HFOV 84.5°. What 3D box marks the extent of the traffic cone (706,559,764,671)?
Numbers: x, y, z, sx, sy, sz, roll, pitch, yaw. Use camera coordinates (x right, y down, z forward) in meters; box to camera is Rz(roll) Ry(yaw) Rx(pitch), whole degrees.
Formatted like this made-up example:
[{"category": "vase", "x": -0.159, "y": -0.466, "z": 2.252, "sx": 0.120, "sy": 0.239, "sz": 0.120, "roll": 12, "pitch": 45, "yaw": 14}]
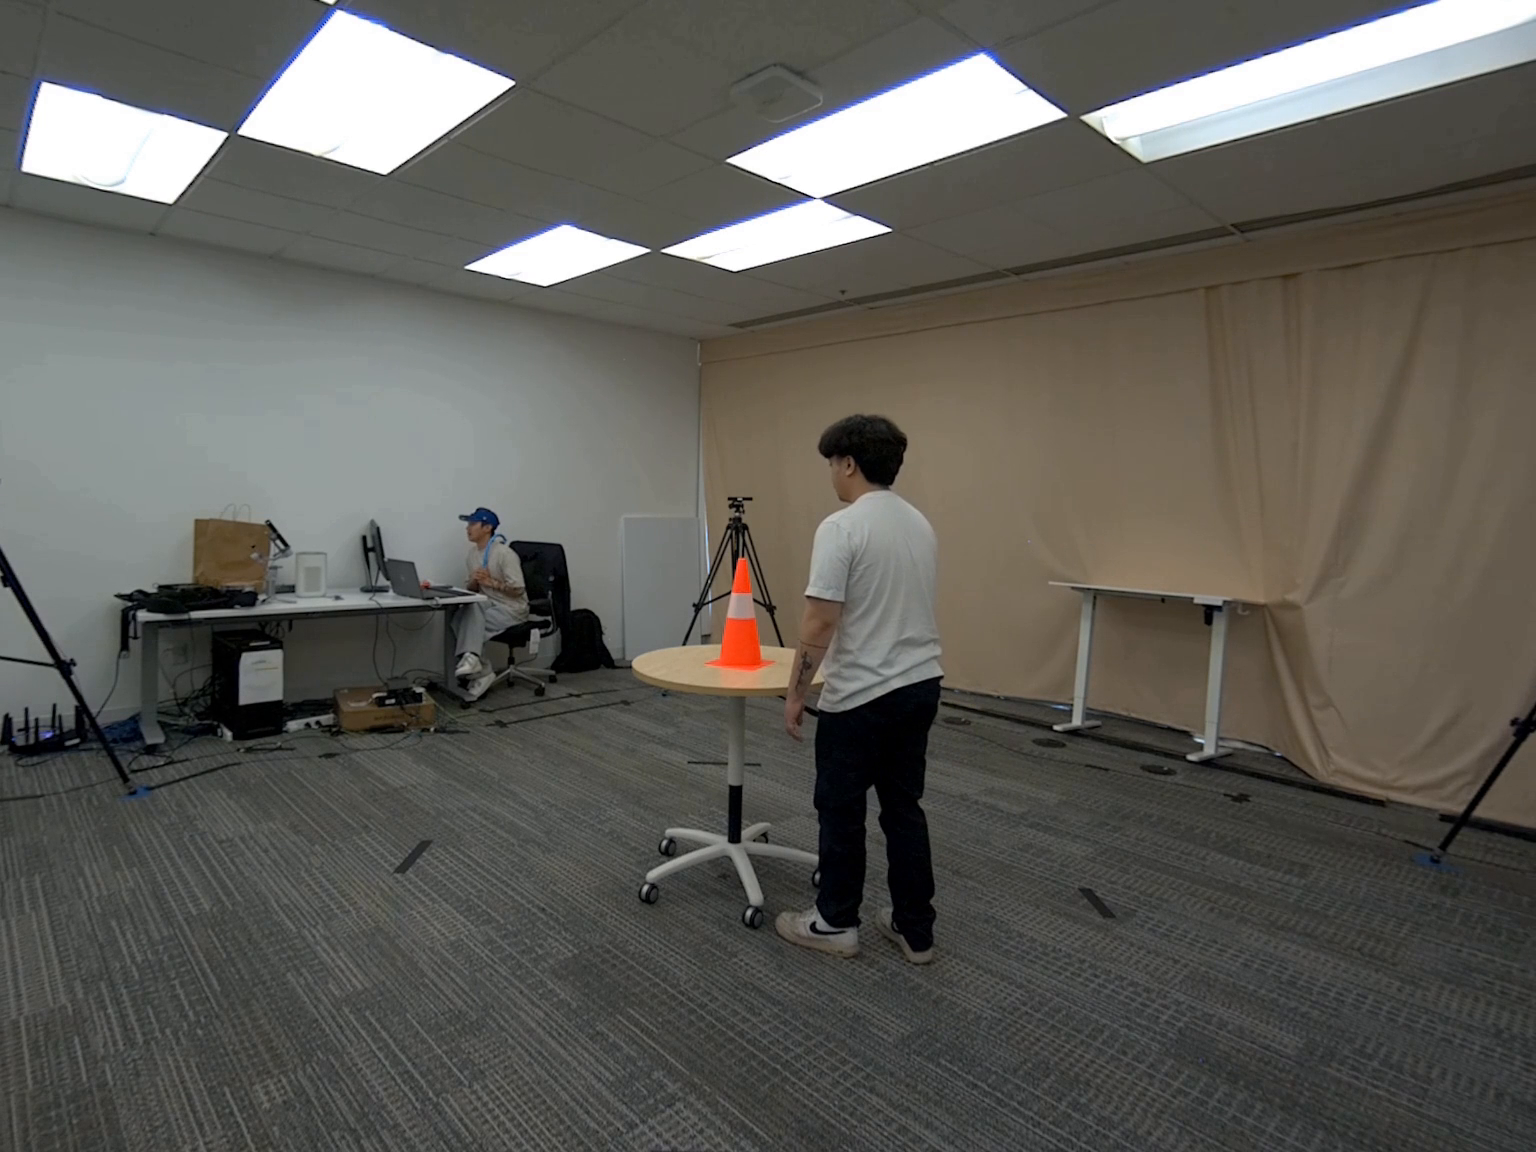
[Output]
[{"category": "traffic cone", "x": -0.099, "y": 0.131, "z": 3.040, "sx": 0.207, "sy": 0.383, "sz": 0.201, "roll": 4, "pitch": 4, "yaw": 27}]
